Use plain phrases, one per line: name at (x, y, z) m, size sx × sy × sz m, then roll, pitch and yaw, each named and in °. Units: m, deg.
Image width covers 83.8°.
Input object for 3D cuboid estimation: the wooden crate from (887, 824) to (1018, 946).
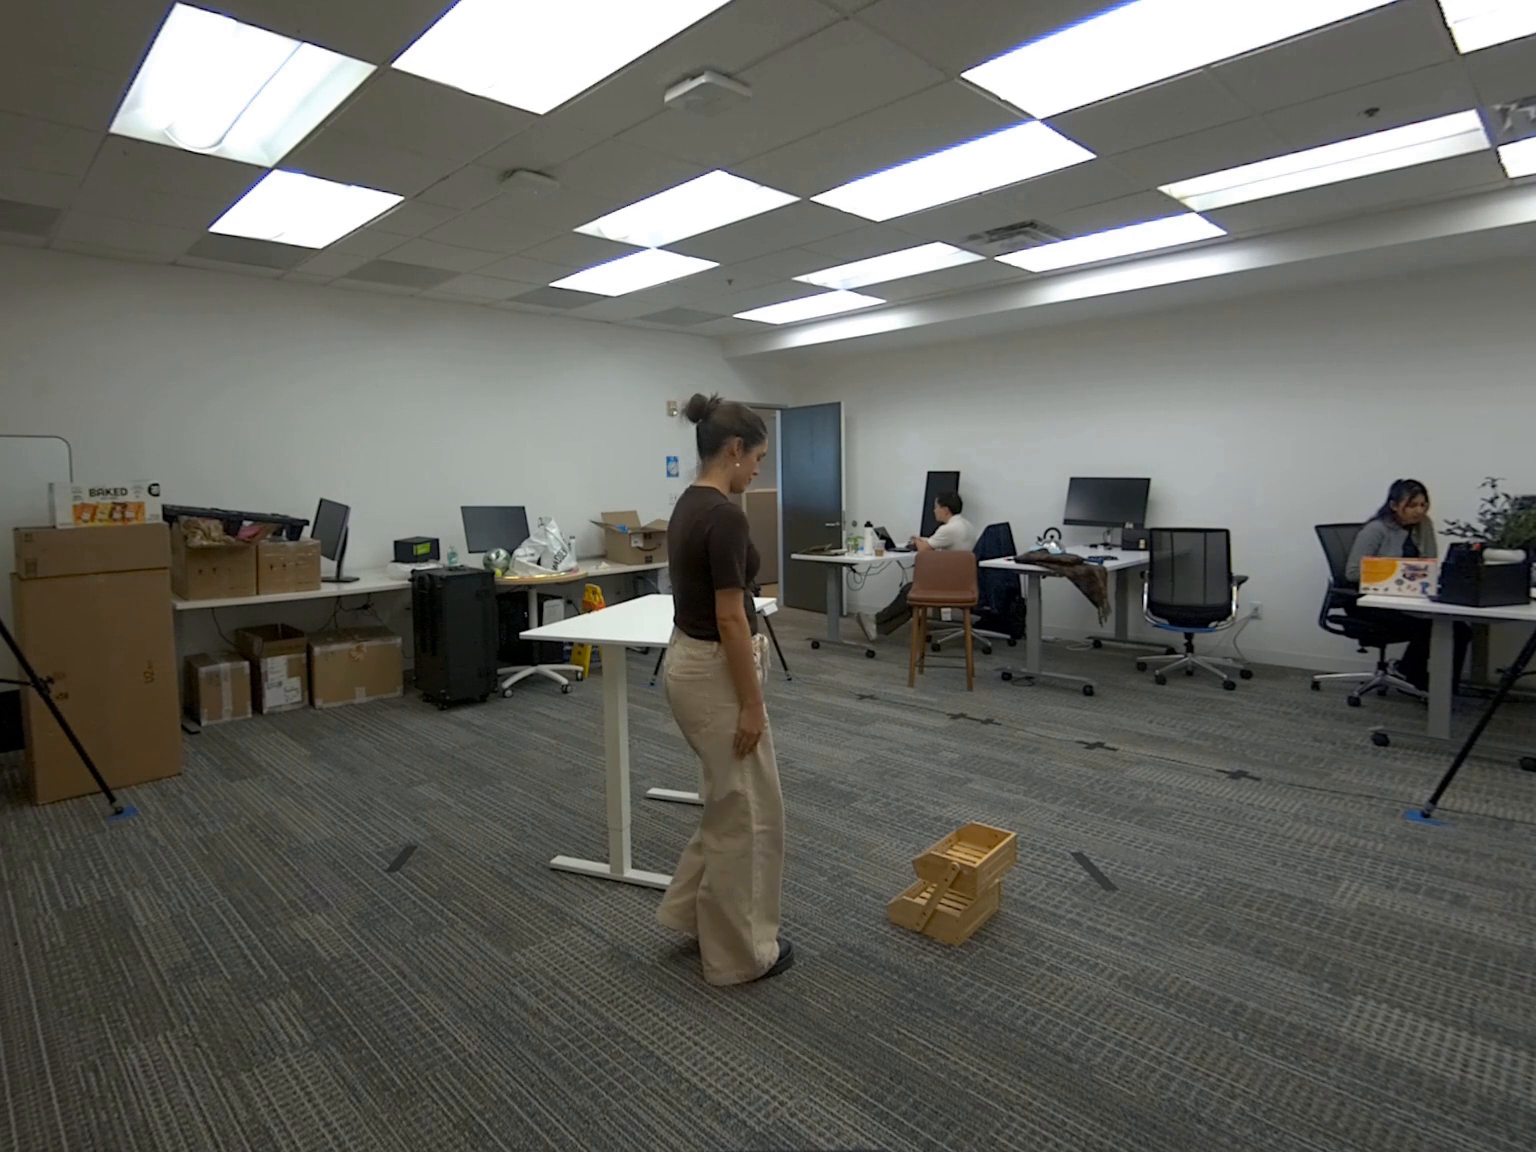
wooden crate at (0.588, 0.949, 2.692) m, size 0.311 × 0.272 × 0.316 m, roll 4°, pitch 7°, yaw 39°
